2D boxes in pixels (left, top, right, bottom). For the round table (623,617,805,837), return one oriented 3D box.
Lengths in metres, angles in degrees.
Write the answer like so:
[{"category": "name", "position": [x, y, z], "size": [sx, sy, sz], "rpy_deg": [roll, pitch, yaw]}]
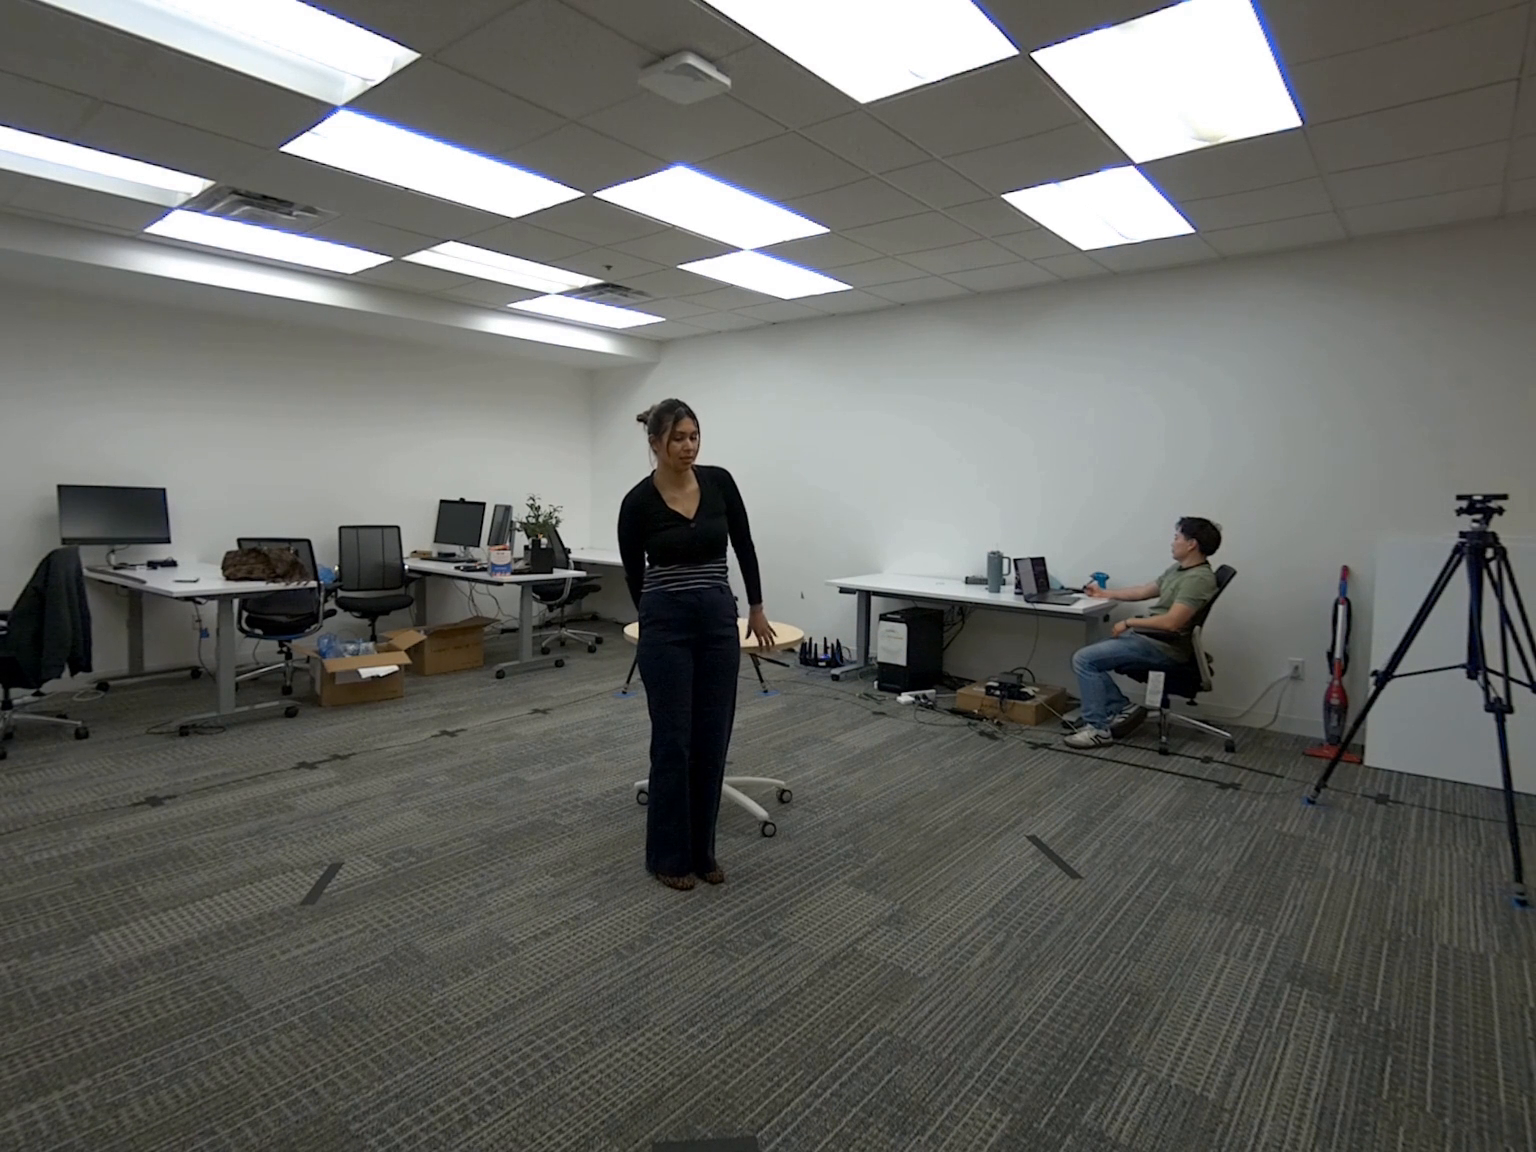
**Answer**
[{"category": "round table", "position": [-0.248, 0.620, 3.646], "size": [0.763, 0.791, 0.768], "rpy_deg": [1, 4, -2]}]
